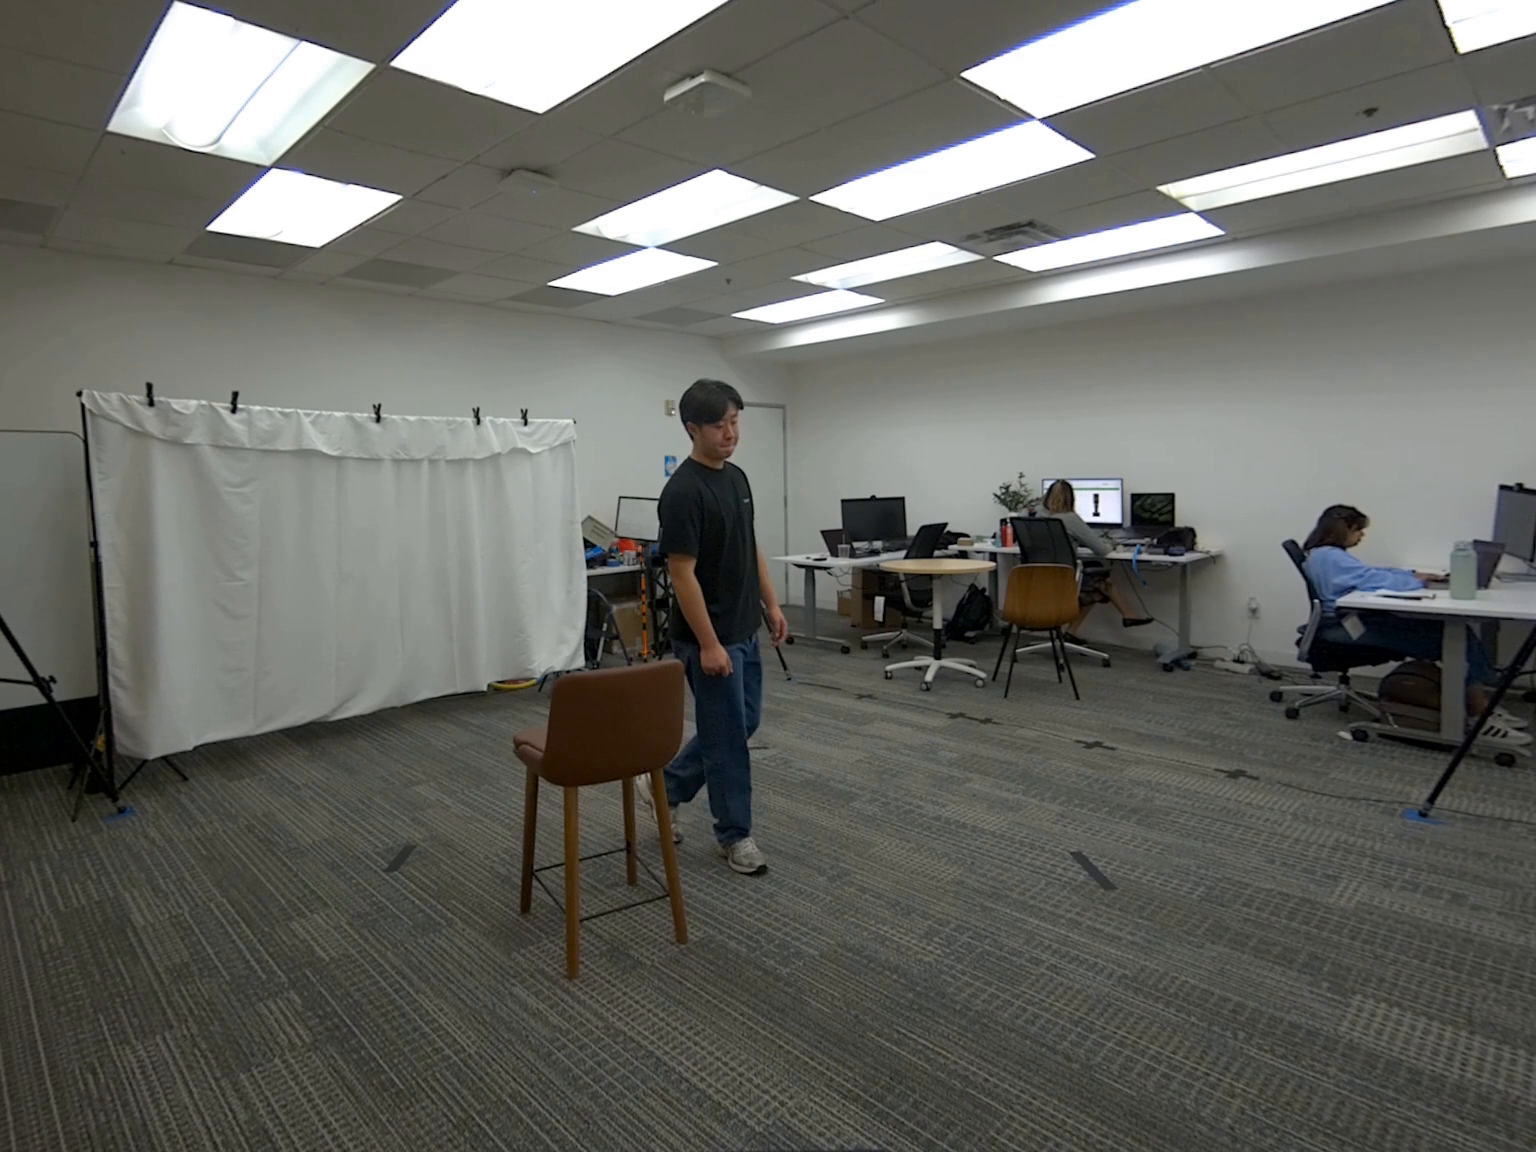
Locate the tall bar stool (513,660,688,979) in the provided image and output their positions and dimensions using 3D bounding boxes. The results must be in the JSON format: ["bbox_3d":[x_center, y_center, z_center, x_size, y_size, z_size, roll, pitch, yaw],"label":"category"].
[{"bbox_3d":[-0.523,0.669,2.652,0.446,0.885,0.481,-3,7,-30],"label":"tall bar stool"}]
